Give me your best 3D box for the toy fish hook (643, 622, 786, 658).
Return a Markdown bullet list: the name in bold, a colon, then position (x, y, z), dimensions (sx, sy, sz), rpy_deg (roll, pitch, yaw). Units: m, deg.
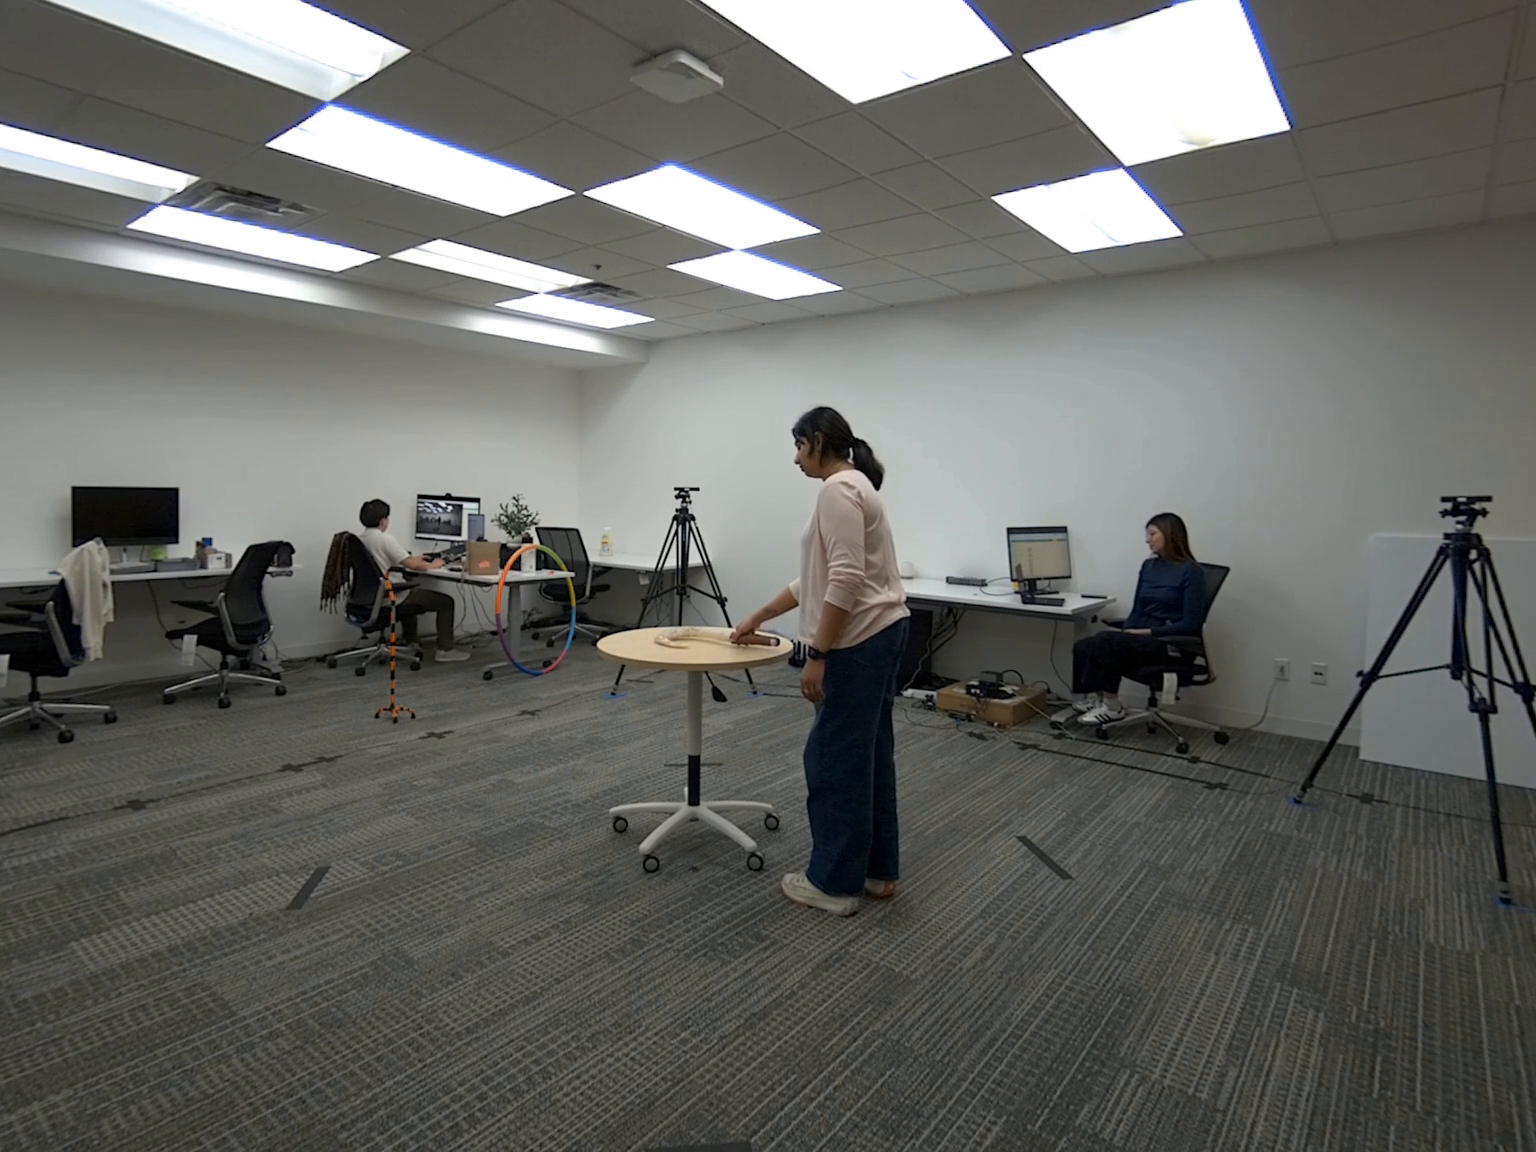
- **toy fish hook**: position (-0.214, 0.242, 3.261), dimensions (0.521, 0.048, 0.220), rpy_deg (1, 11, 31)
